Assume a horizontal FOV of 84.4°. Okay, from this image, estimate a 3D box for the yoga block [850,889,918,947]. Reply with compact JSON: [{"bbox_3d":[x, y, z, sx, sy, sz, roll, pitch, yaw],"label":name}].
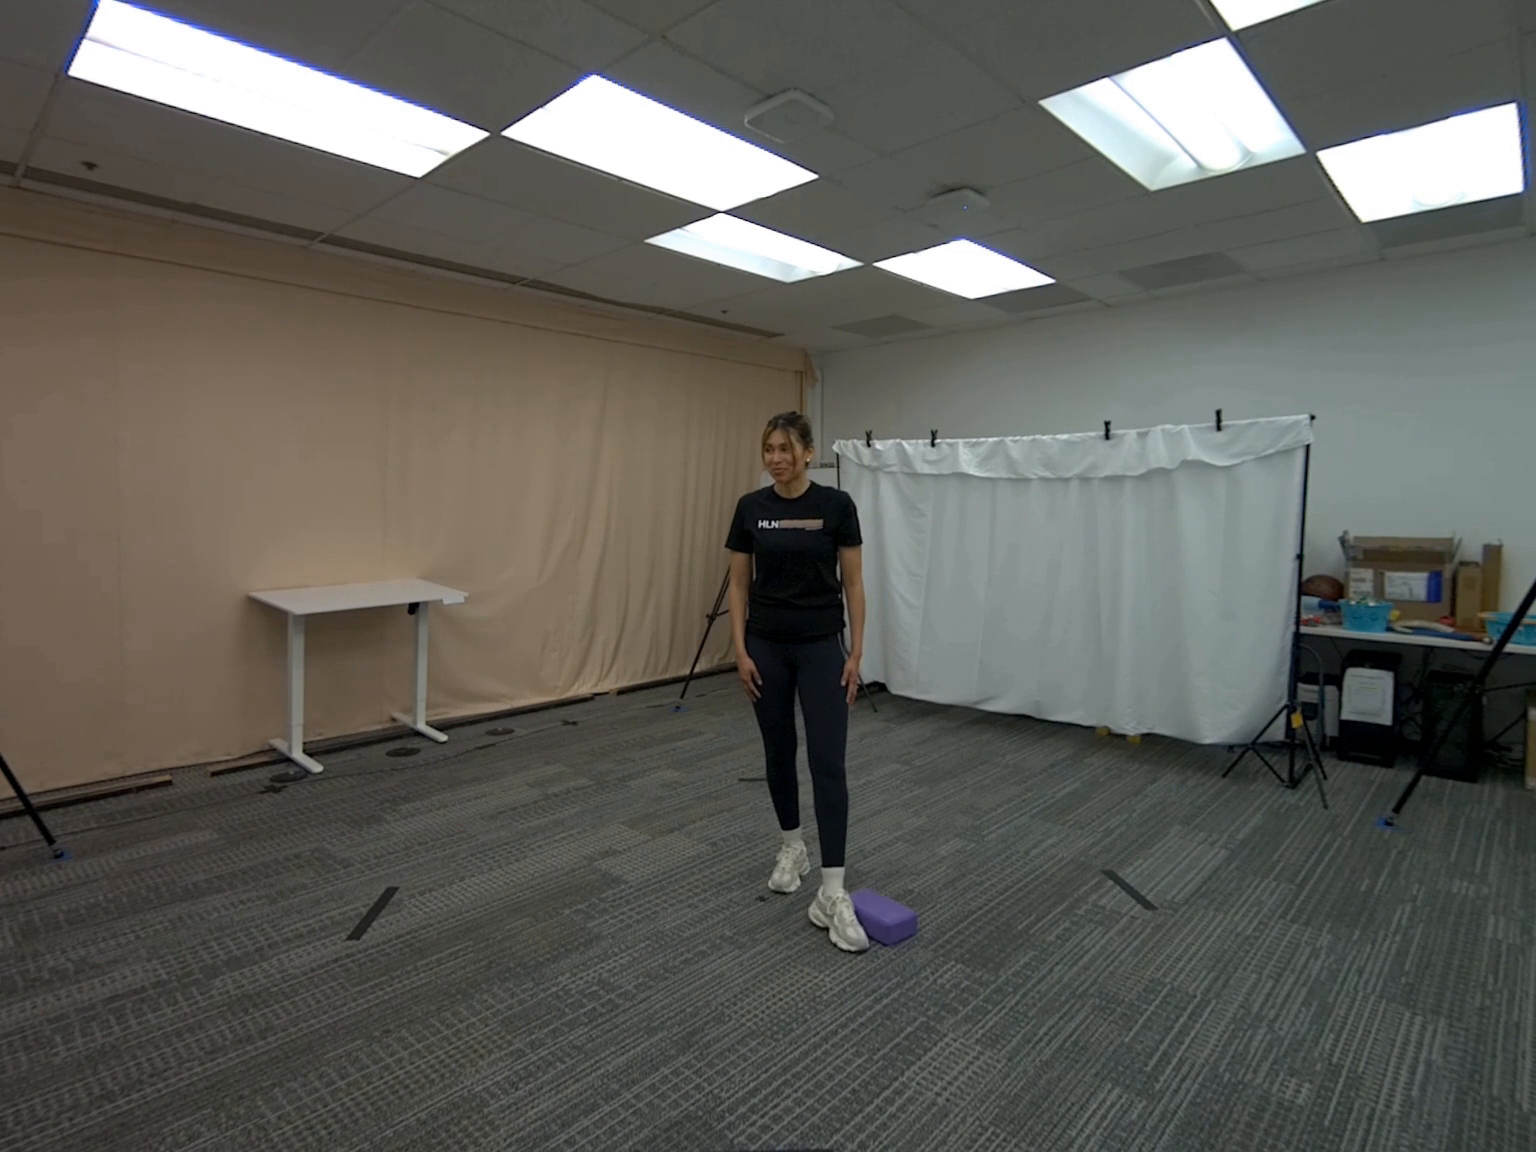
[{"bbox_3d":[0.365,1.118,2.773,0.144,0.076,0.237,-4,6,-39],"label":"yoga block"}]
